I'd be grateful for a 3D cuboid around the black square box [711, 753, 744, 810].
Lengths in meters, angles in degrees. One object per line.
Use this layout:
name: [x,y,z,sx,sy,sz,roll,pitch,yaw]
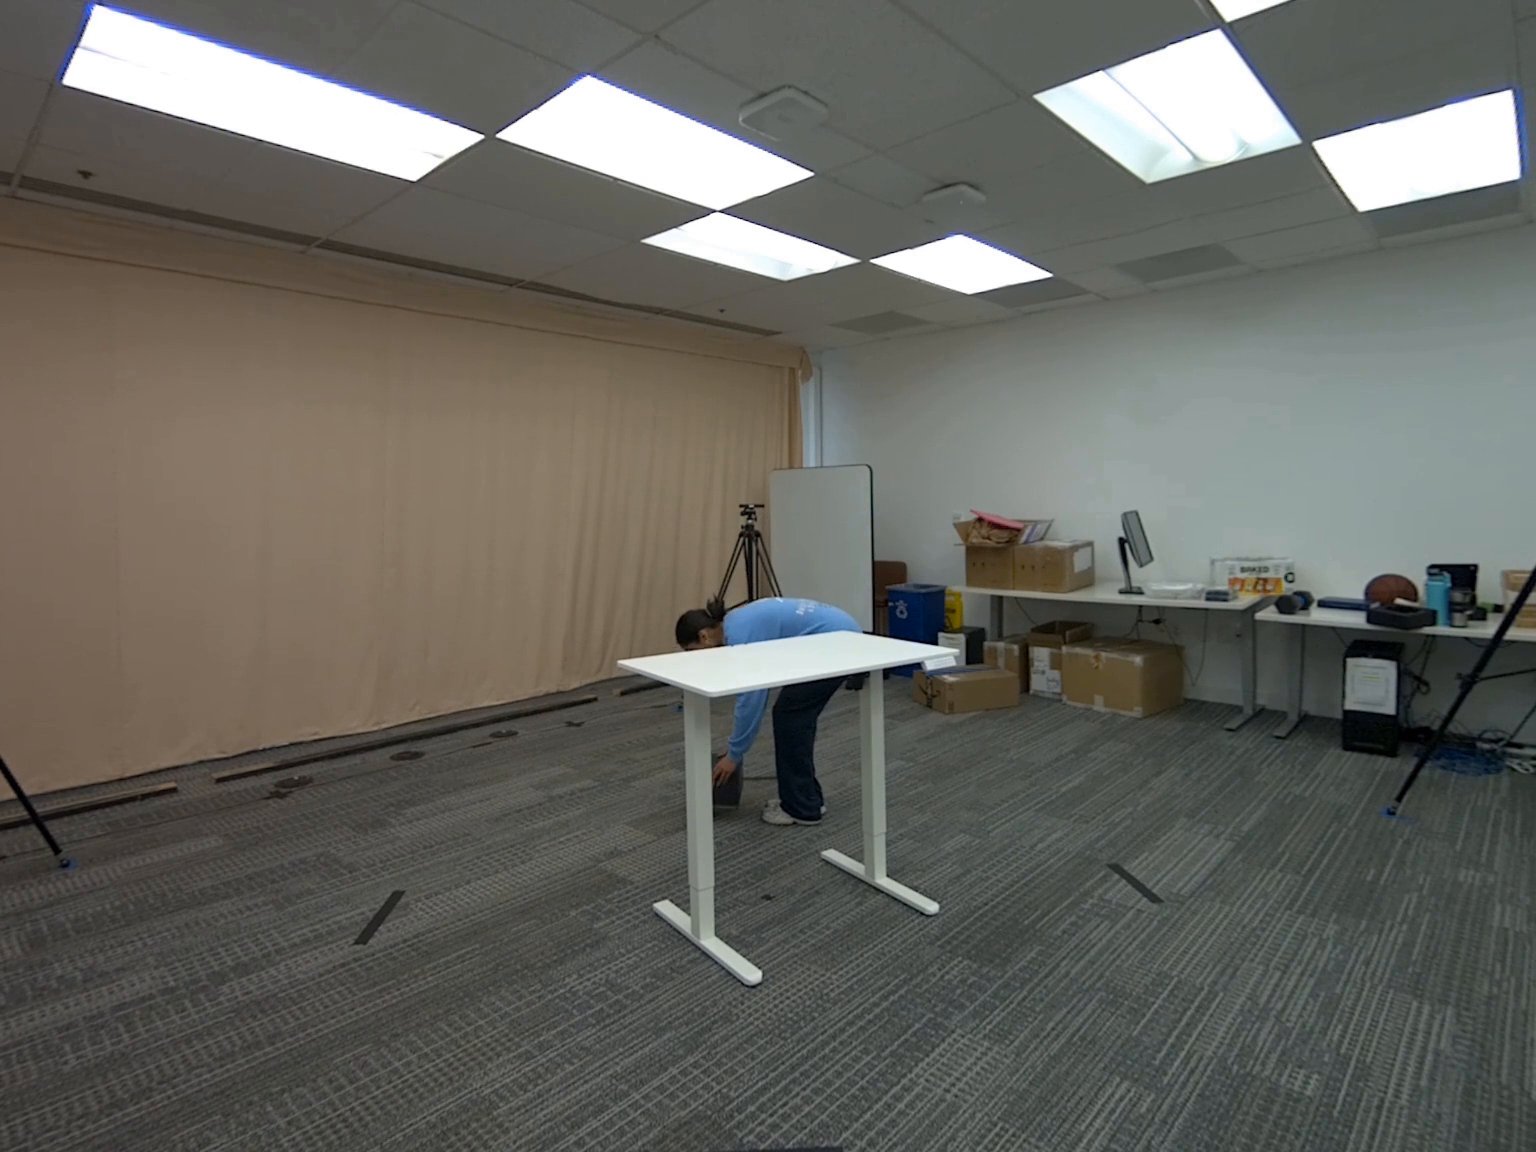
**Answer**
black square box: [-0.233,0.912,3.804,0.229,0.155,0.217,0,8,4]
